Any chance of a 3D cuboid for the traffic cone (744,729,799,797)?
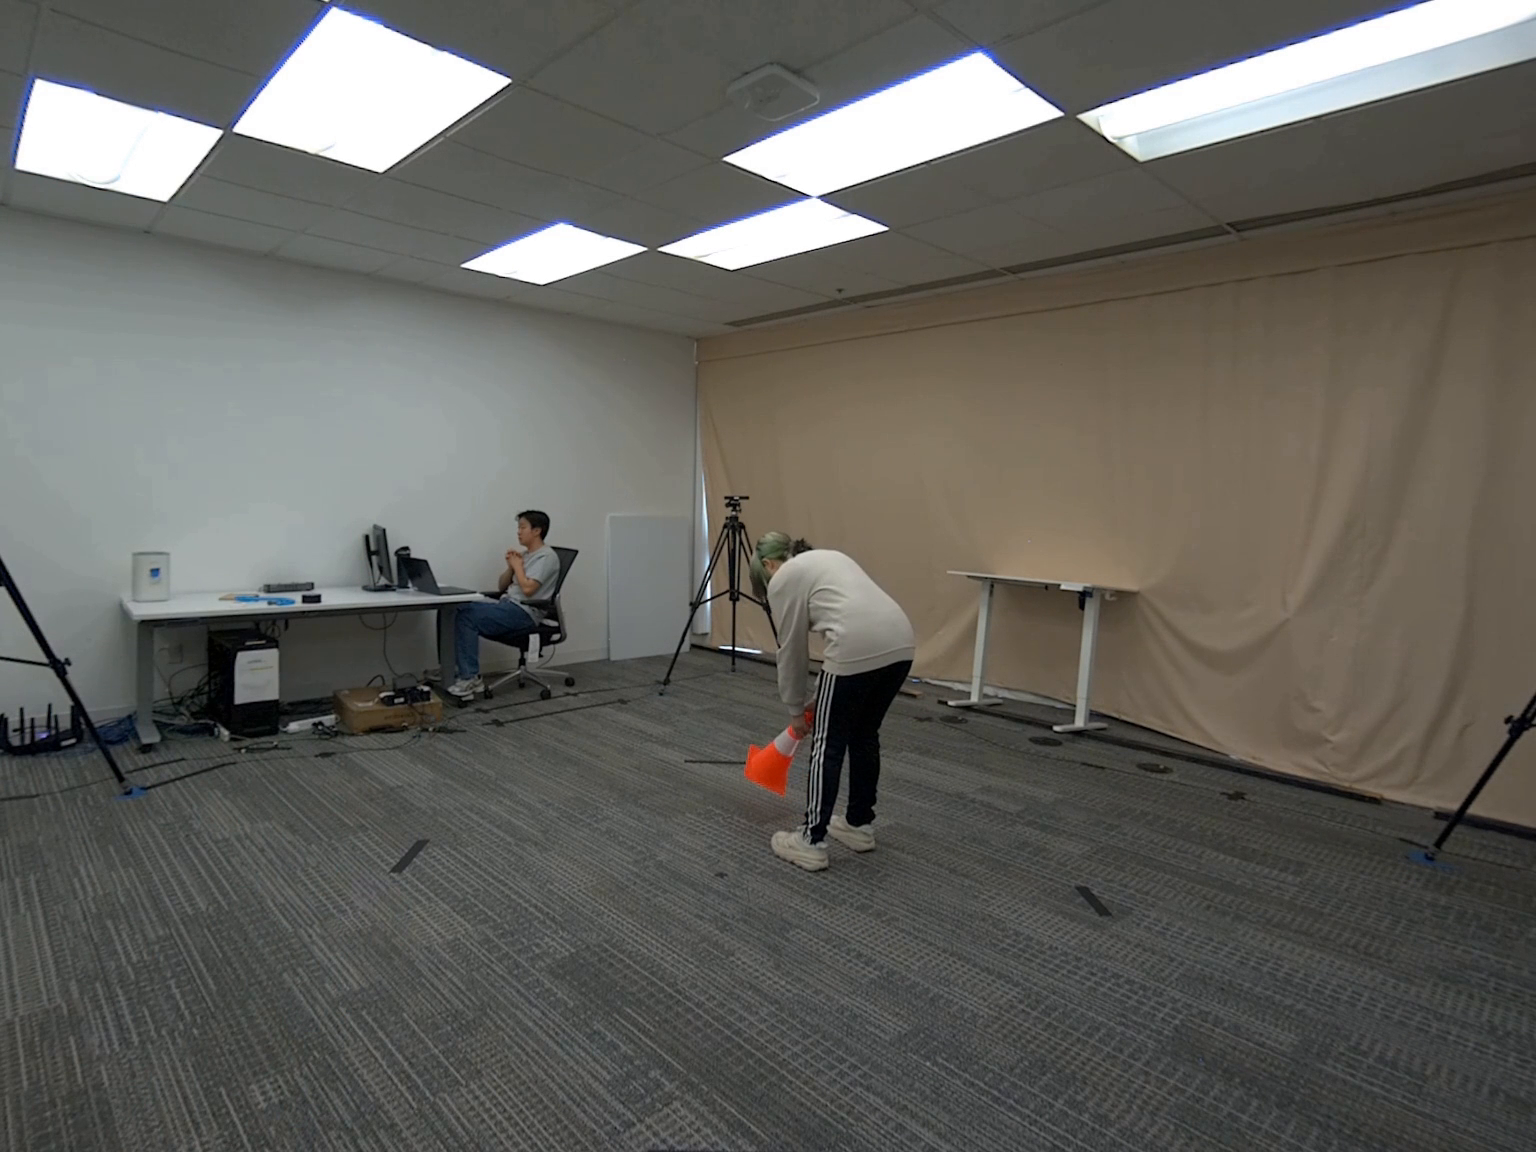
[{"bbox_3d":[0.073,0.717,3.581,0.201,0.381,0.209,24,30,-14],"label":"traffic cone"}]
